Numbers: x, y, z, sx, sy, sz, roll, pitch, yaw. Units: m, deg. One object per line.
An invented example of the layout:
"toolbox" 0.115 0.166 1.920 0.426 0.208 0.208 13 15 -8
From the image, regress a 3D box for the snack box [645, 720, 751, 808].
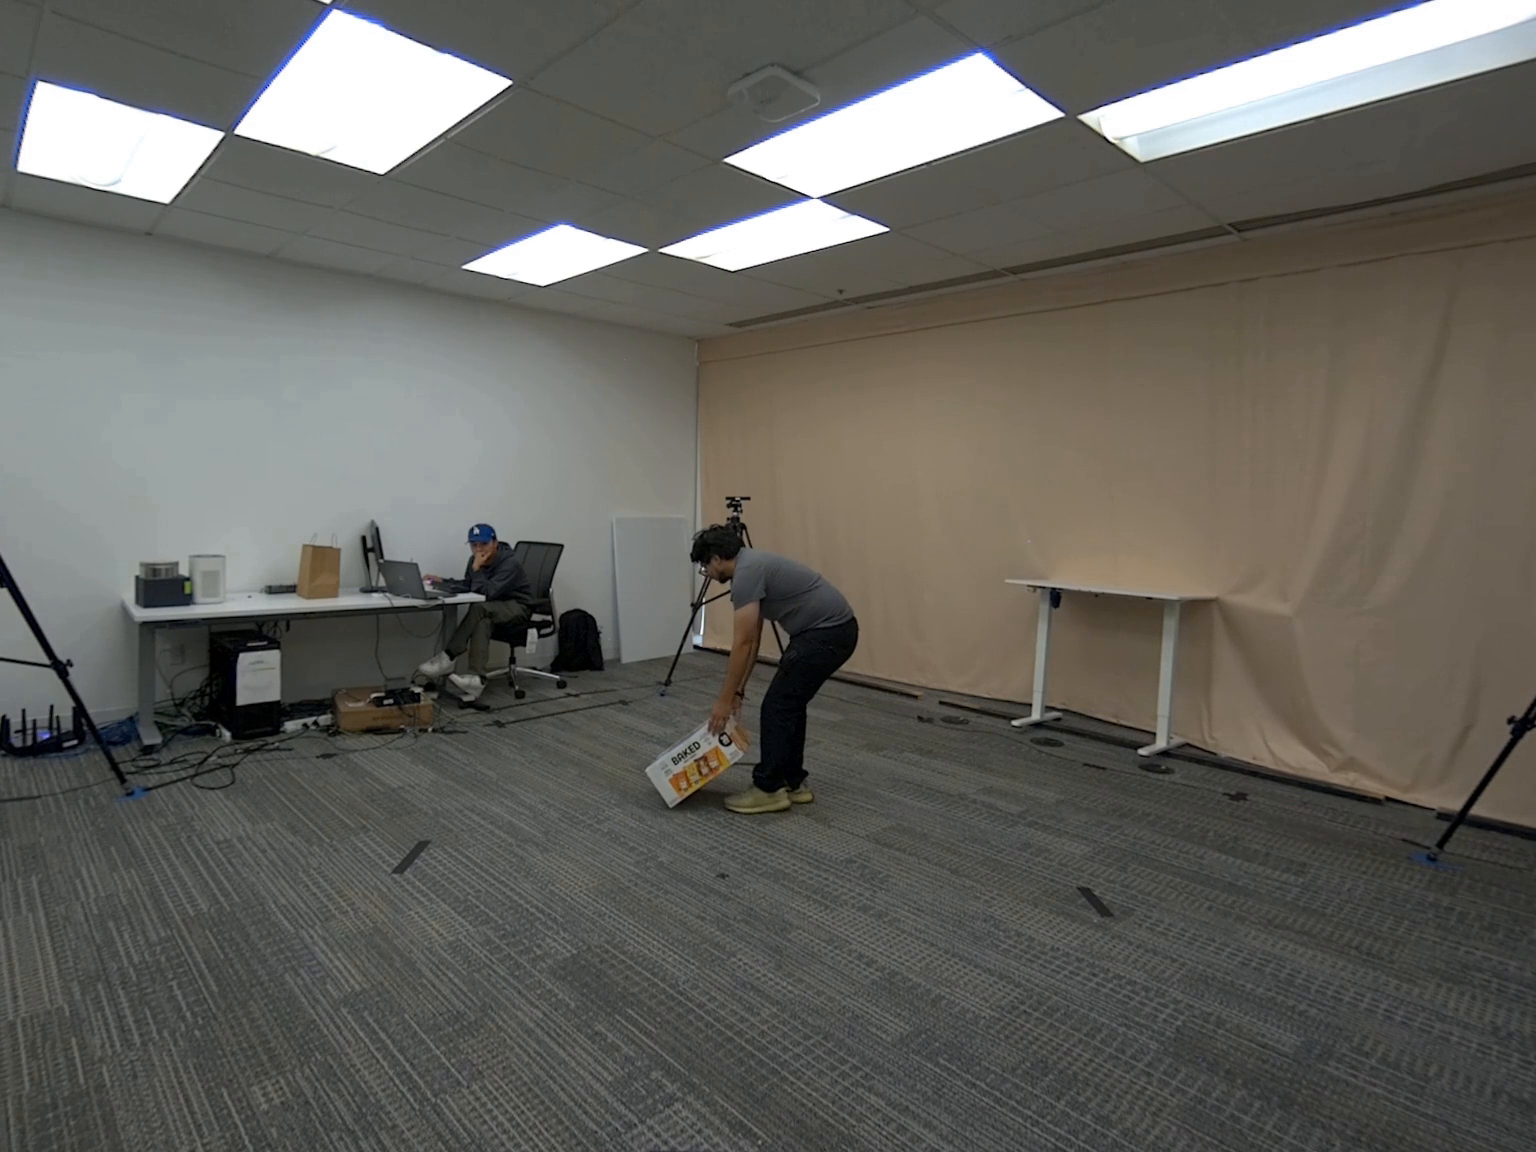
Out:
"snack box" -0.318 0.825 3.884 0.405 0.207 0.338 -36 -4 5
